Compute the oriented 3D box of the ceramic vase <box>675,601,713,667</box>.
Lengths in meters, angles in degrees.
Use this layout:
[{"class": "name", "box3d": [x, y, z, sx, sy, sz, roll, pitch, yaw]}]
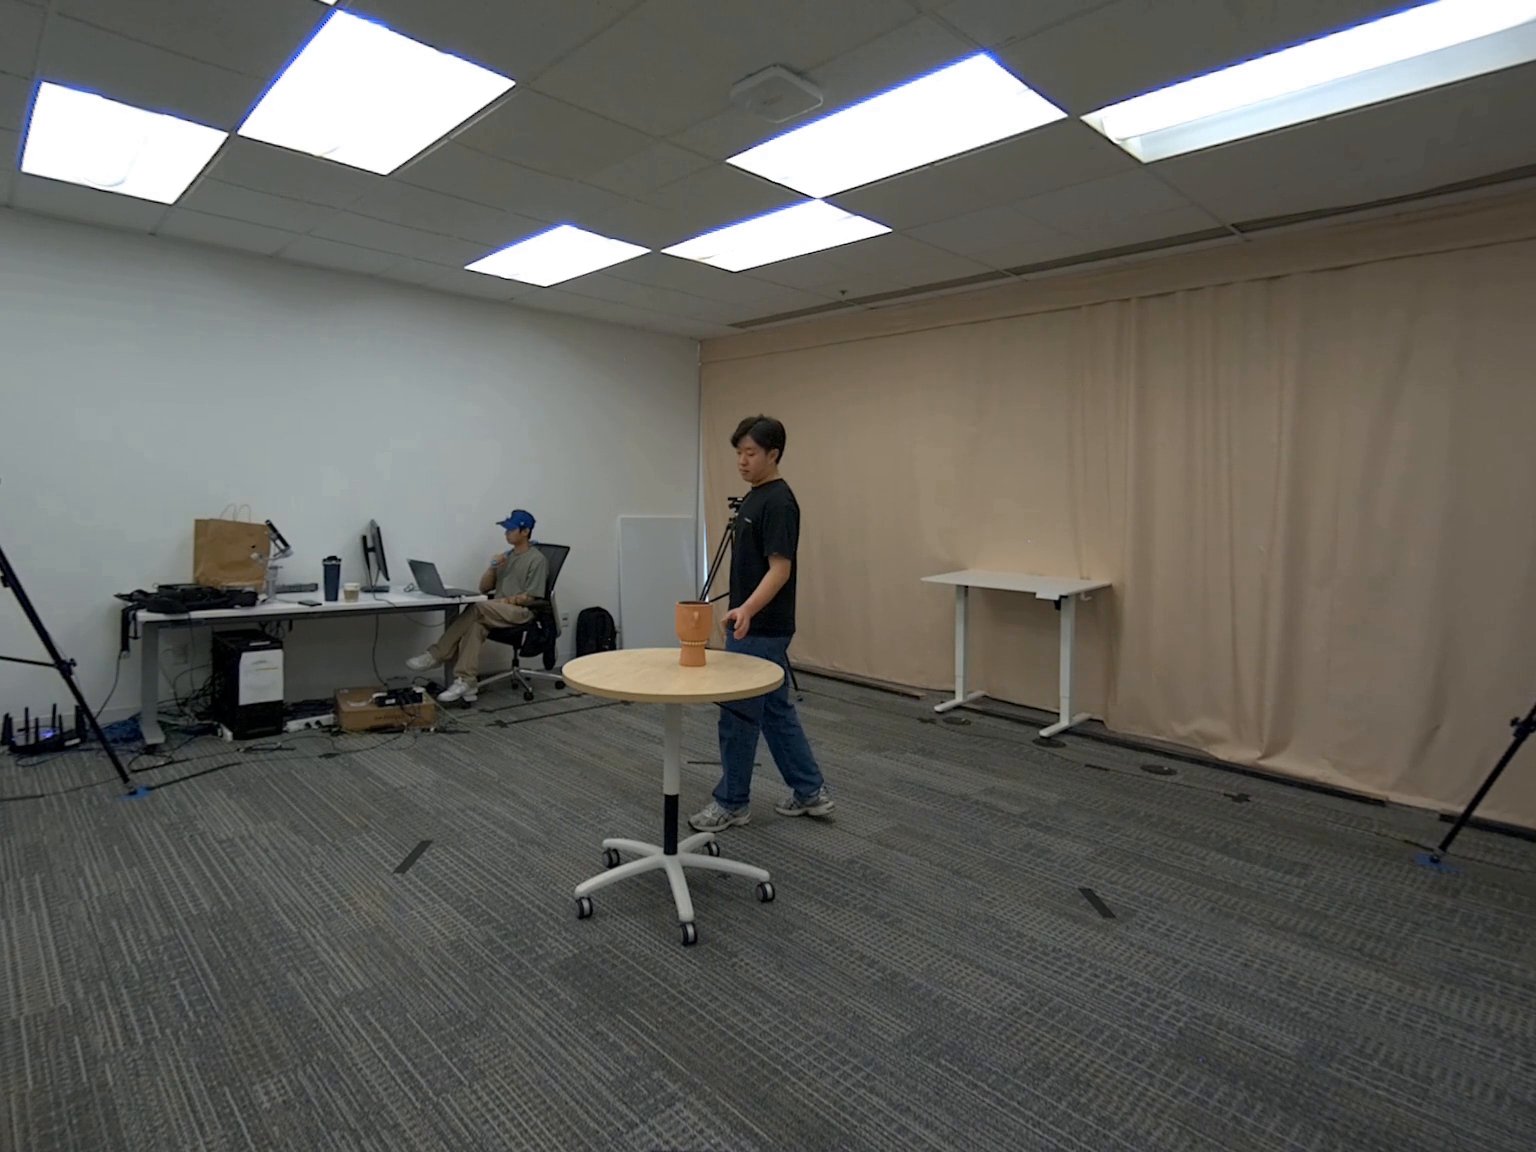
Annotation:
[{"class": "ceramic vase", "box3d": [-0.272, 0.207, 3.000, 0.137, 0.219, 0.156, 5, 4, 30]}]
